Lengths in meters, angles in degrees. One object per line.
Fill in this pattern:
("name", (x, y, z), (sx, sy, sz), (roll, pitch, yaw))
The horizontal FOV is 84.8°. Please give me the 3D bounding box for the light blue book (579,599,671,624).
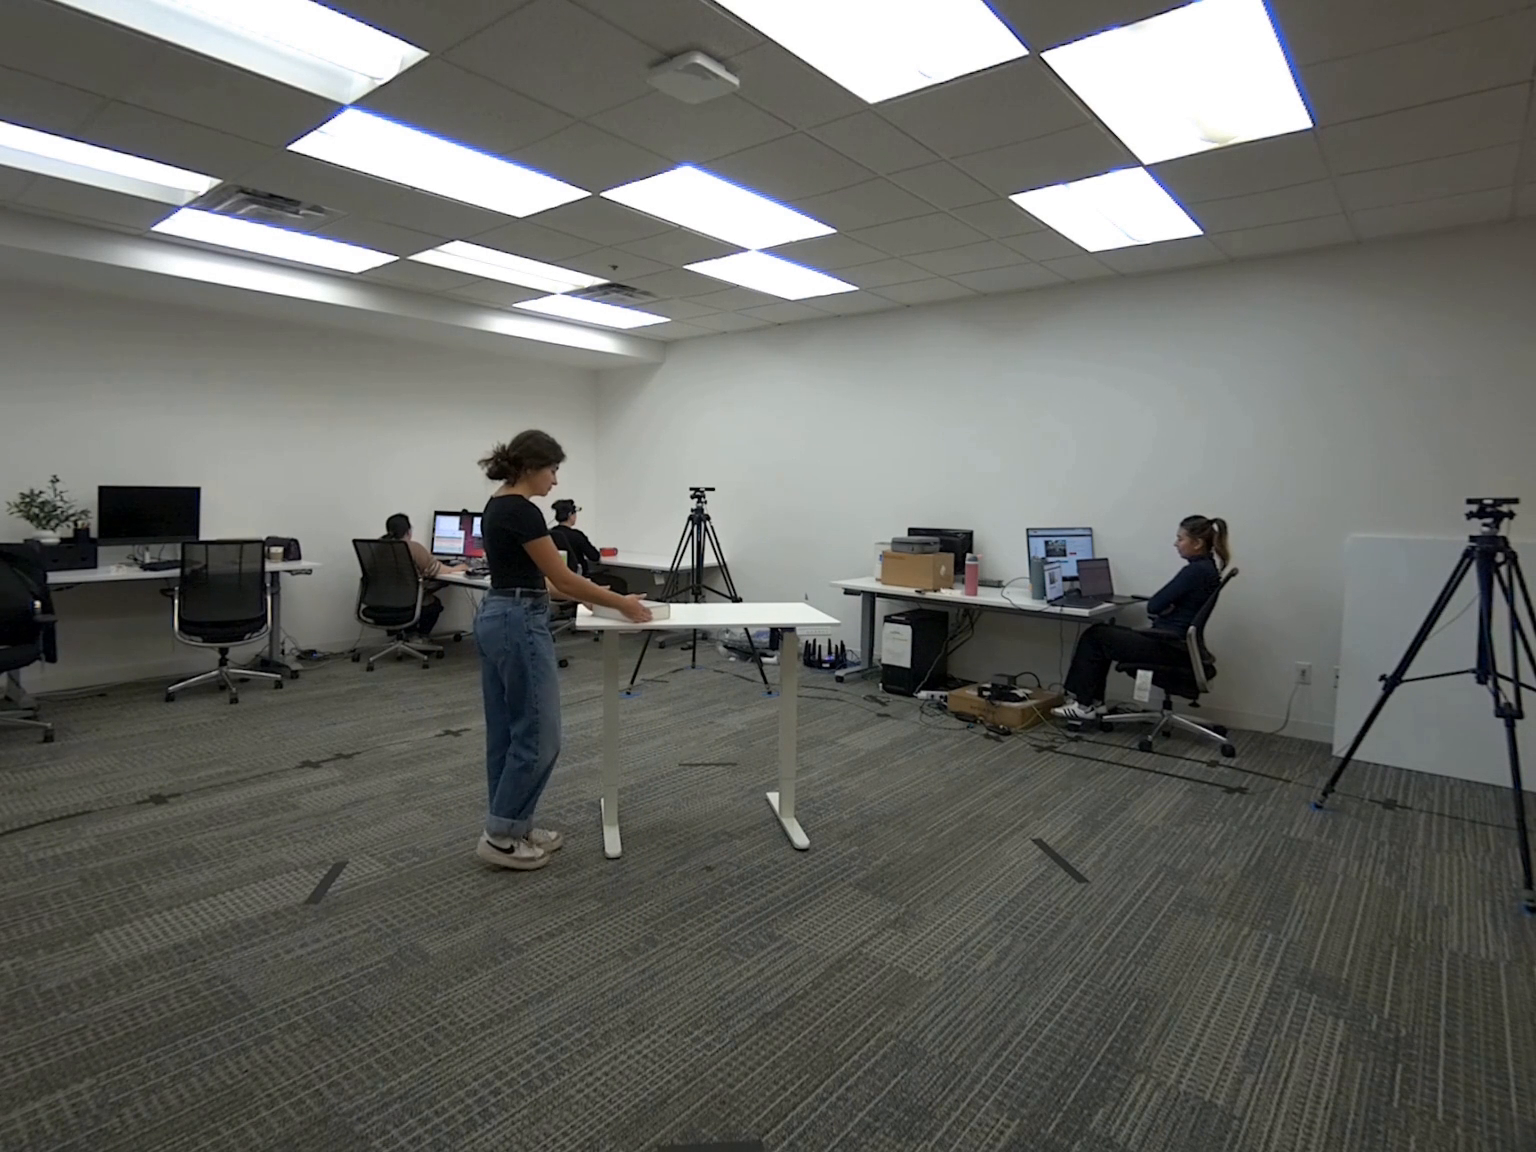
("light blue book", (-0.557, 0.134, 3.326), (0.270, 0.059, 0.186), (6, 8, 43))
